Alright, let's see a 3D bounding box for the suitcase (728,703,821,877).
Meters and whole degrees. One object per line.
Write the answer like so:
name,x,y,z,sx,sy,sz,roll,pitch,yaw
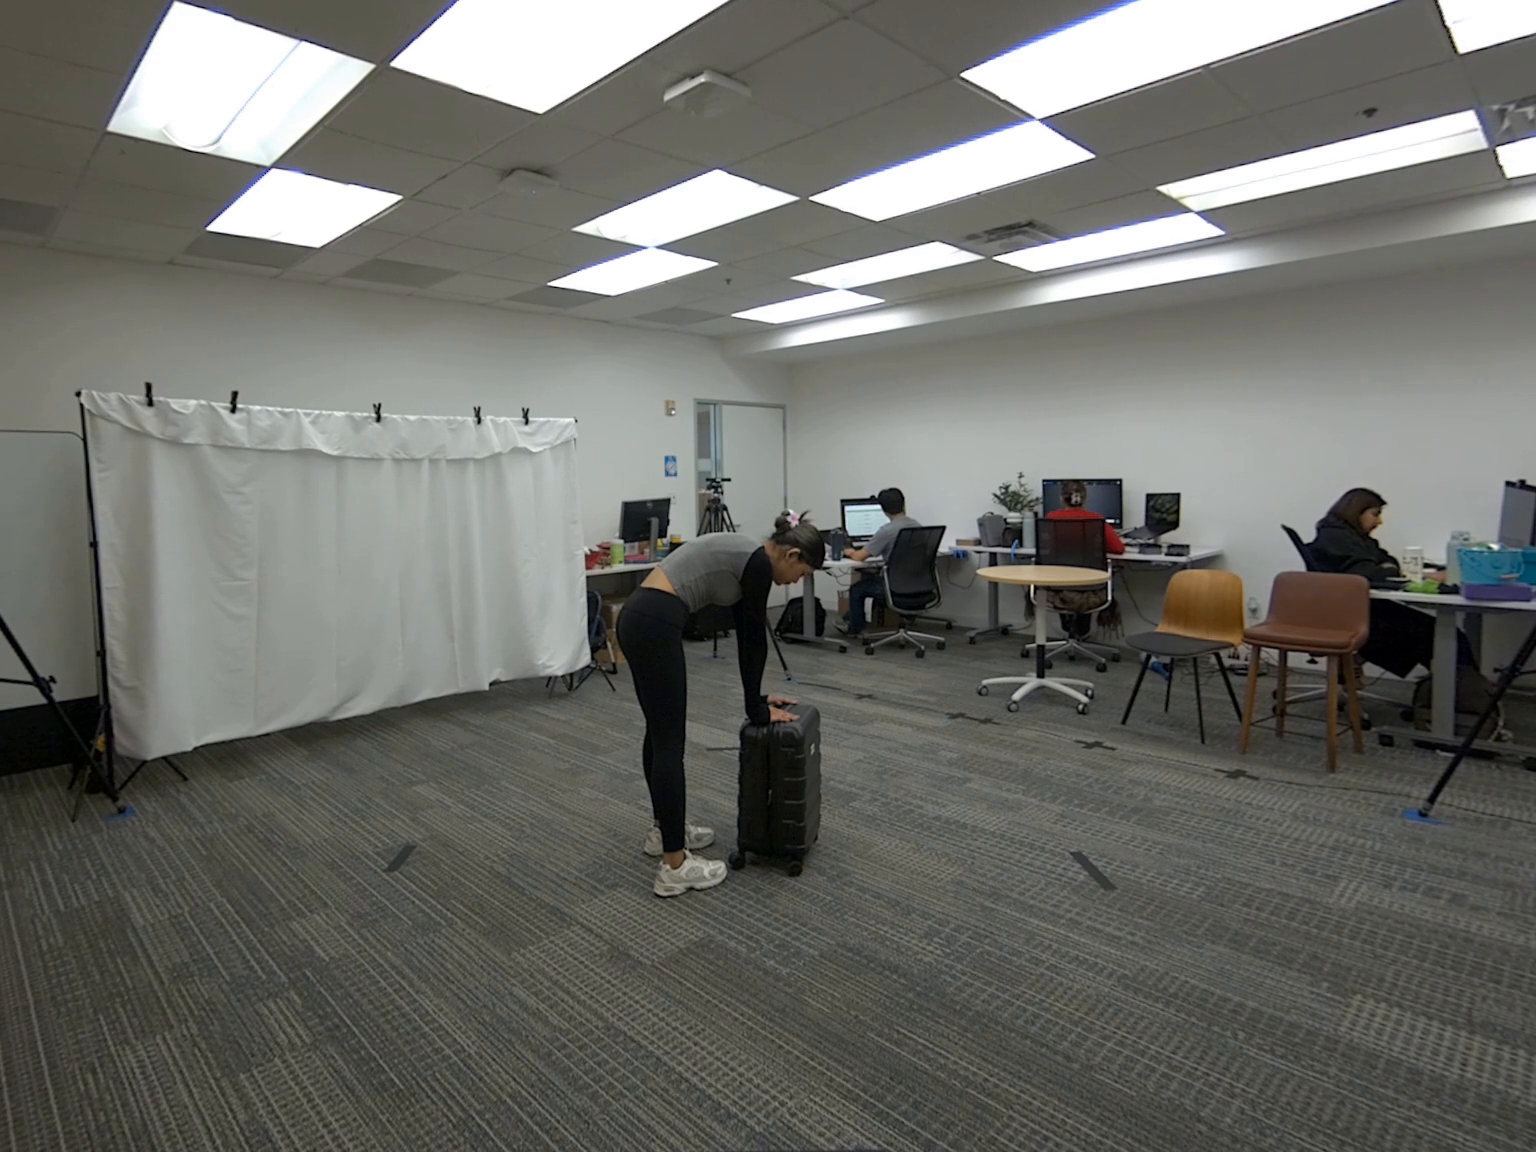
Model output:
suitcase,0.041,0.759,3.169,0.253,0.547,0.370,2,5,17
